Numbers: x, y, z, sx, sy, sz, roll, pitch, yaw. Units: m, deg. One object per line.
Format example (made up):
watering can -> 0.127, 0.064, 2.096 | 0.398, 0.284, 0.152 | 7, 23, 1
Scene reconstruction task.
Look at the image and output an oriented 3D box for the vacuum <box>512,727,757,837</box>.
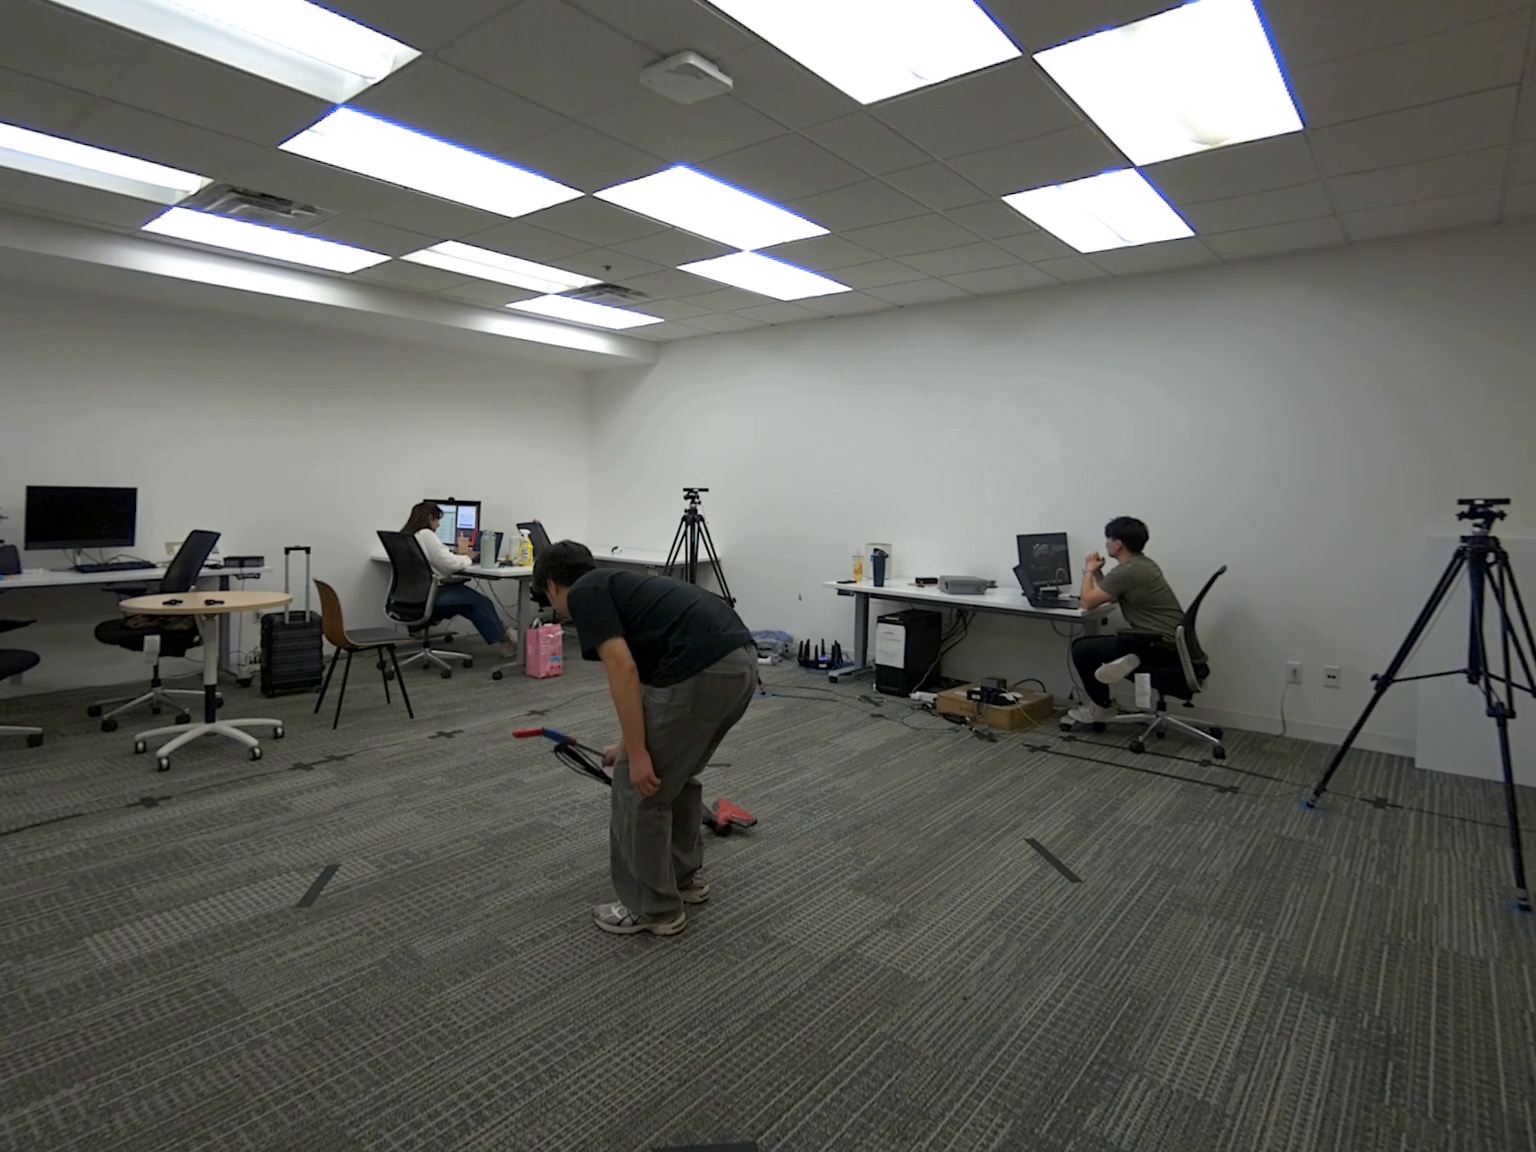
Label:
vacuum -> -0.526, 0.768, 3.209 | 1.009, 0.144, 0.261 | 32, -10, -34
